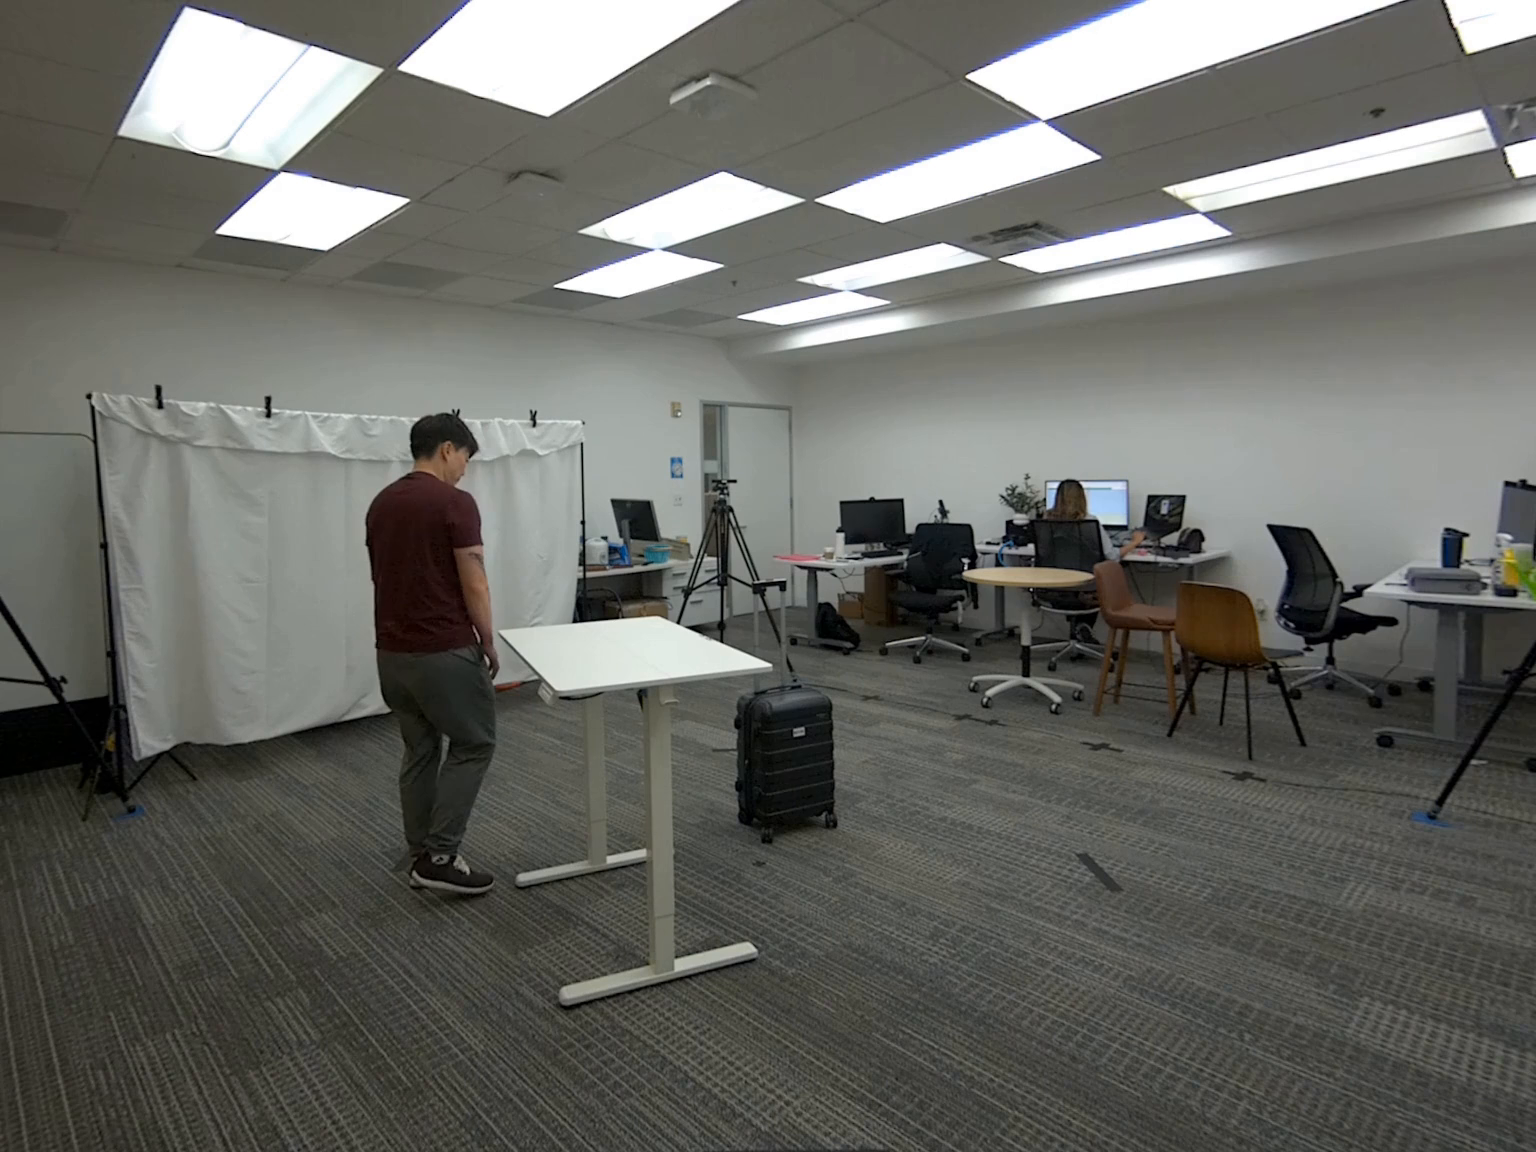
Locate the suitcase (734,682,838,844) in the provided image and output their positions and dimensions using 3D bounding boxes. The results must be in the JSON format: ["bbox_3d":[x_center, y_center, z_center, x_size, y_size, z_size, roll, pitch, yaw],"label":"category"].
[{"bbox_3d":[0.072,0.527,3.445,0.376,0.974,0.263,-3,5,-25],"label":"suitcase"}]
